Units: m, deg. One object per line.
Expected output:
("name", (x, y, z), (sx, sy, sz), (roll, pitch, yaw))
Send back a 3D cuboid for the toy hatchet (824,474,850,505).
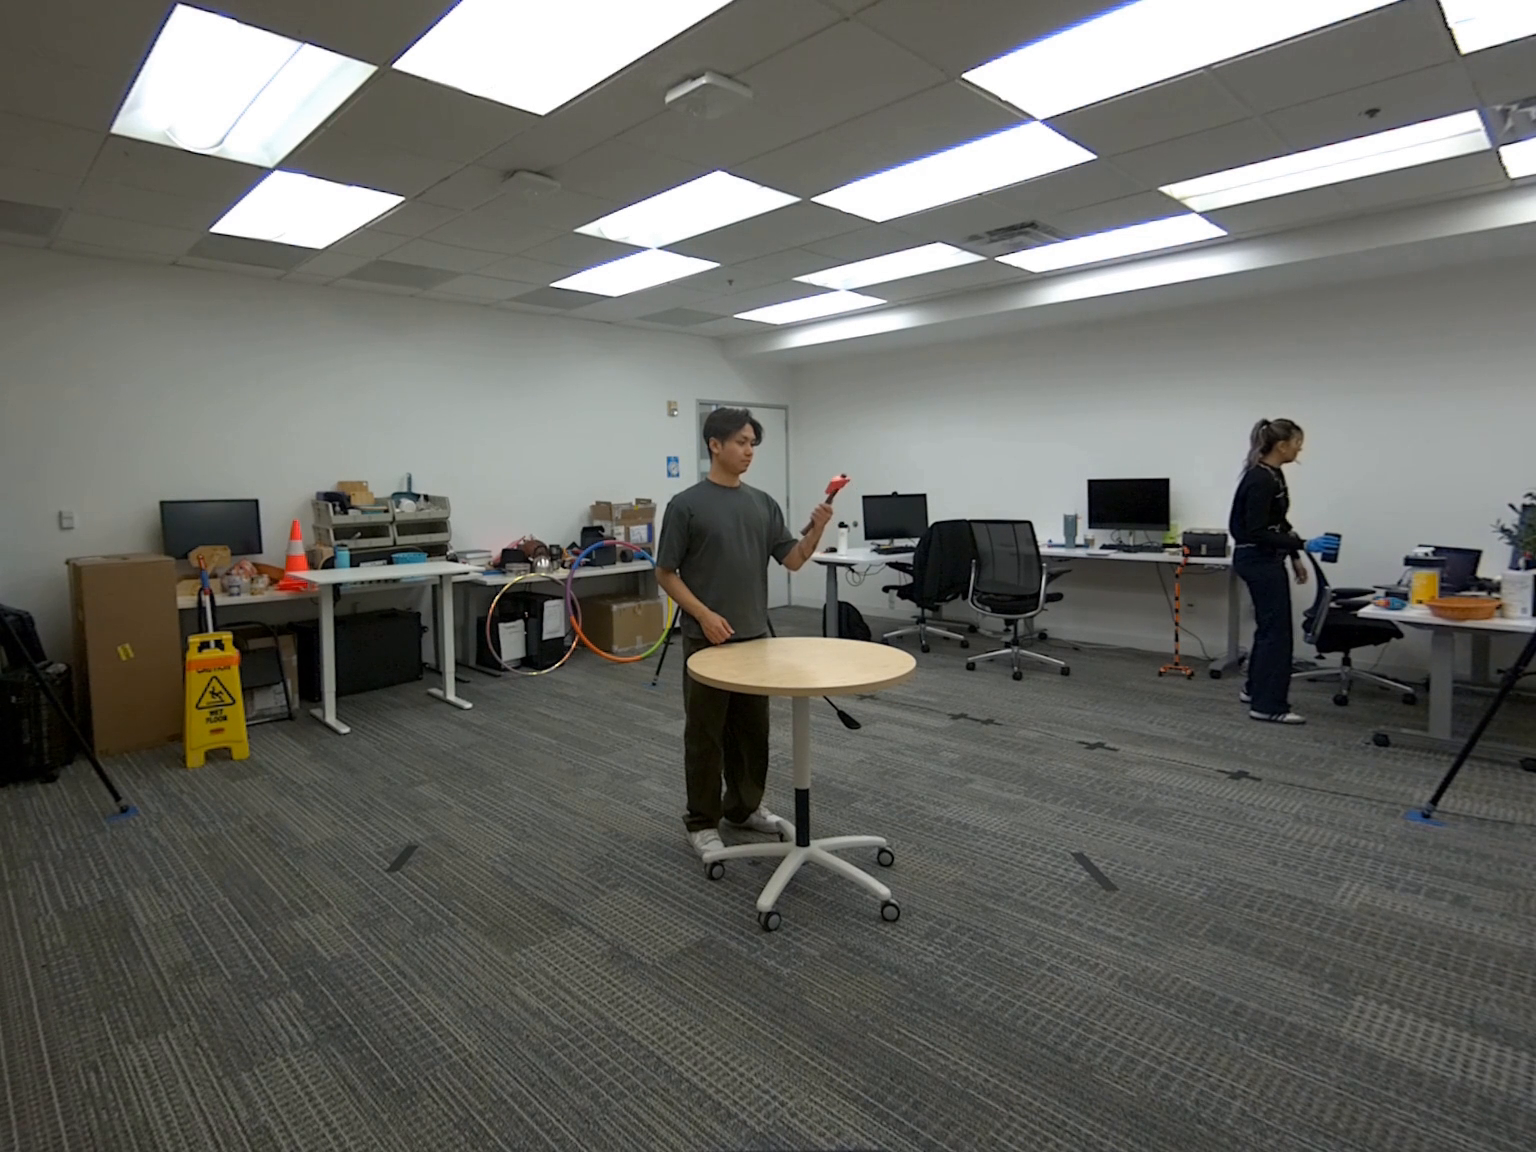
("toy hatchet", (0.200, -0.260, 3.061), (0.030, 0.270, 0.128), (43, 10, 18))
